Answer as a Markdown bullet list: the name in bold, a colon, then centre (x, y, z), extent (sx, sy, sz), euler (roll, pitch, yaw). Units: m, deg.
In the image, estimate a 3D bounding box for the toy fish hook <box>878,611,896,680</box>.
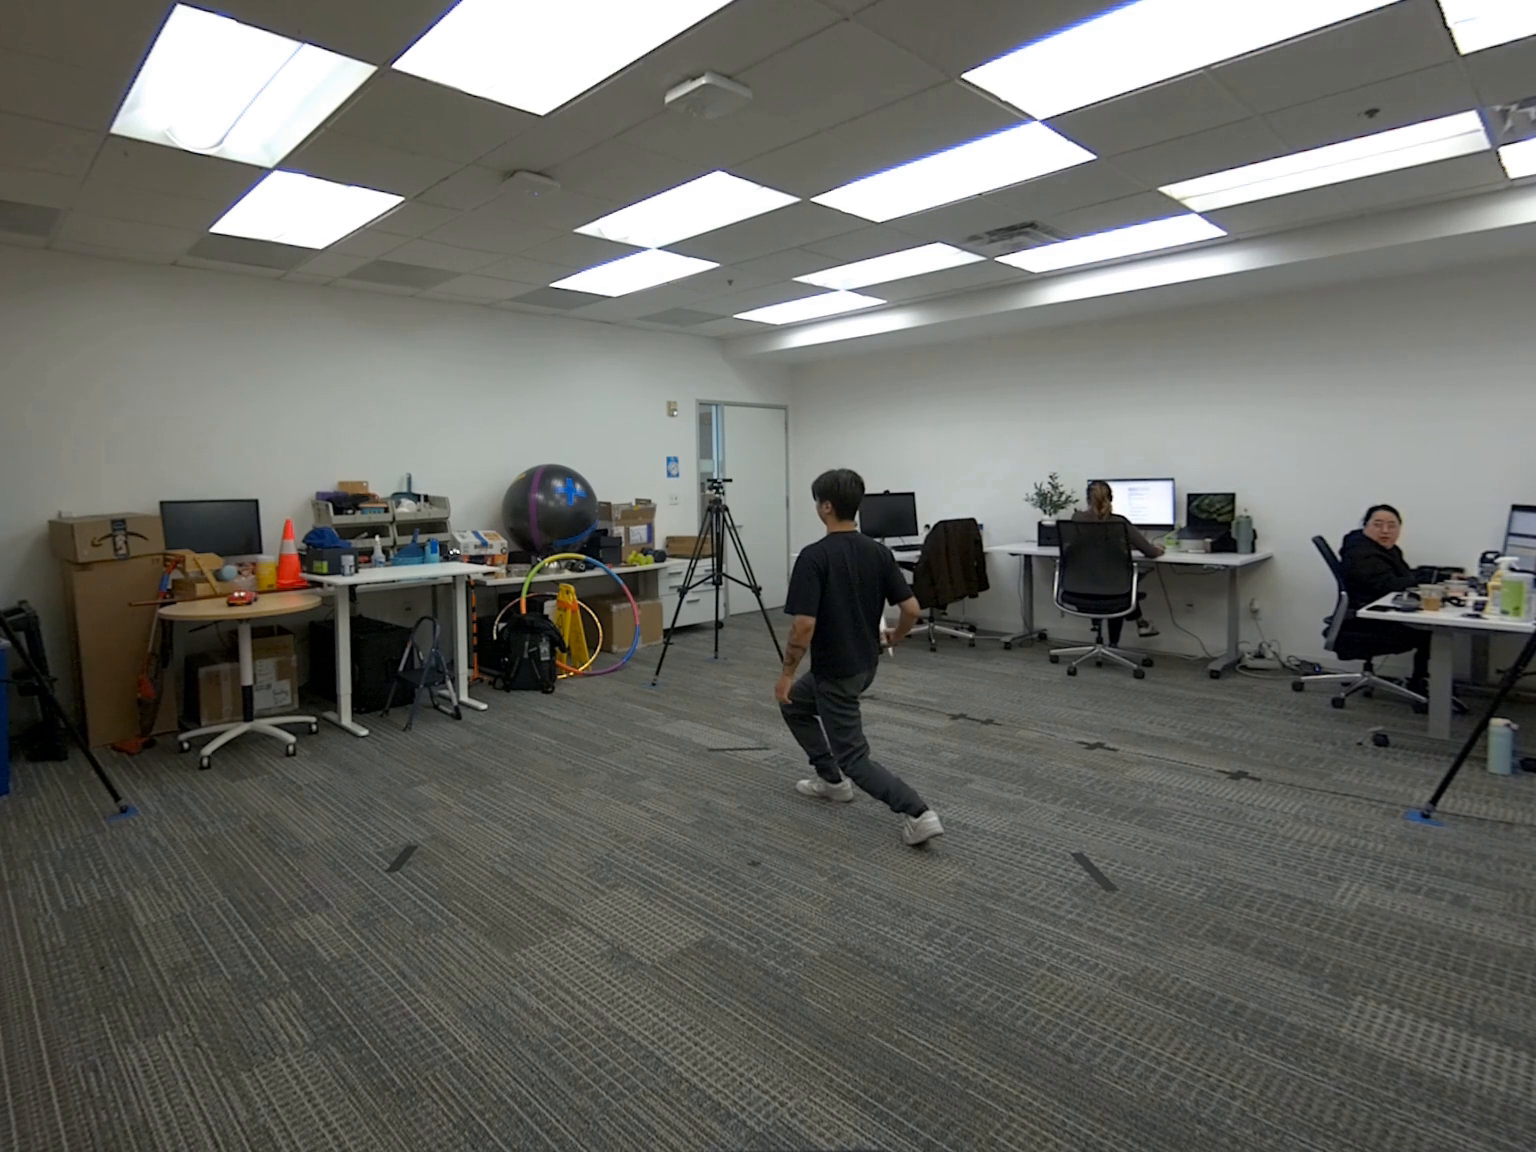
- **toy fish hook**: centre (0.530, 0.287, 3.991), extent (0.049, 0.223, 0.506), euler (-18, 8, 12)
